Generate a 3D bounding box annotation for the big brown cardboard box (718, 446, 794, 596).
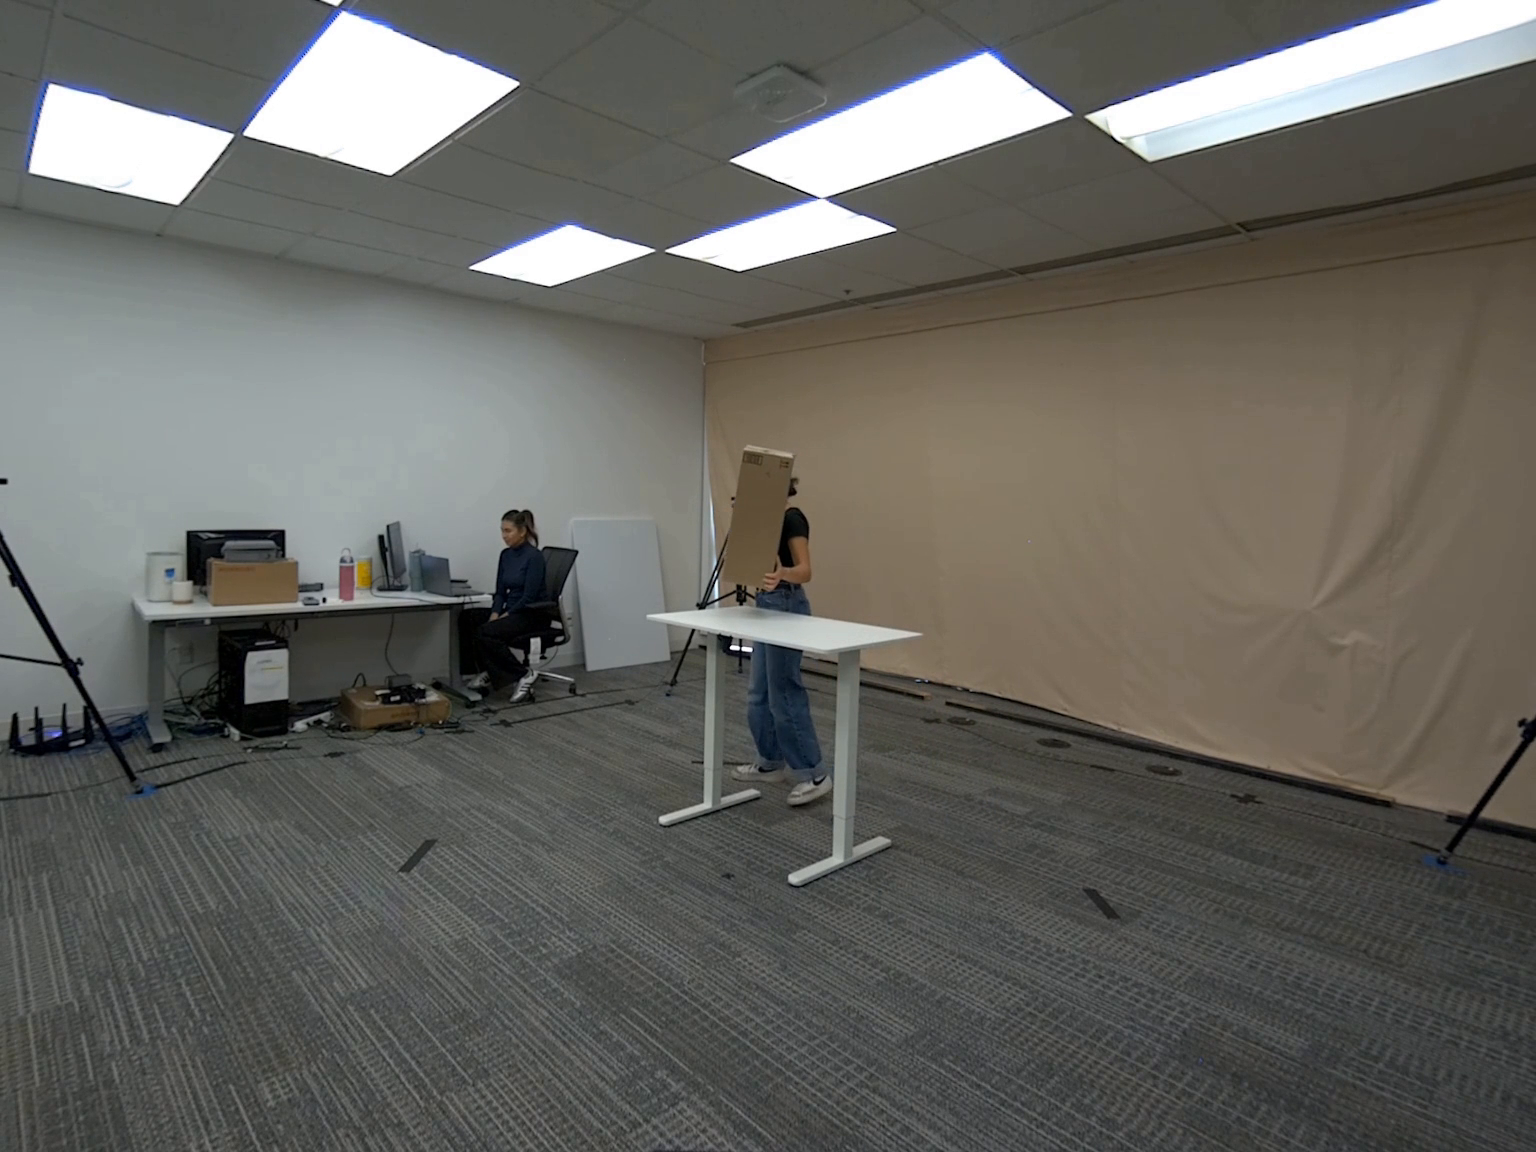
[{"bbox_3d":[-0.062,-0.273,3.722,0.233,0.585,0.421,9,11,-3],"label":"big brown cardboard box"}]
